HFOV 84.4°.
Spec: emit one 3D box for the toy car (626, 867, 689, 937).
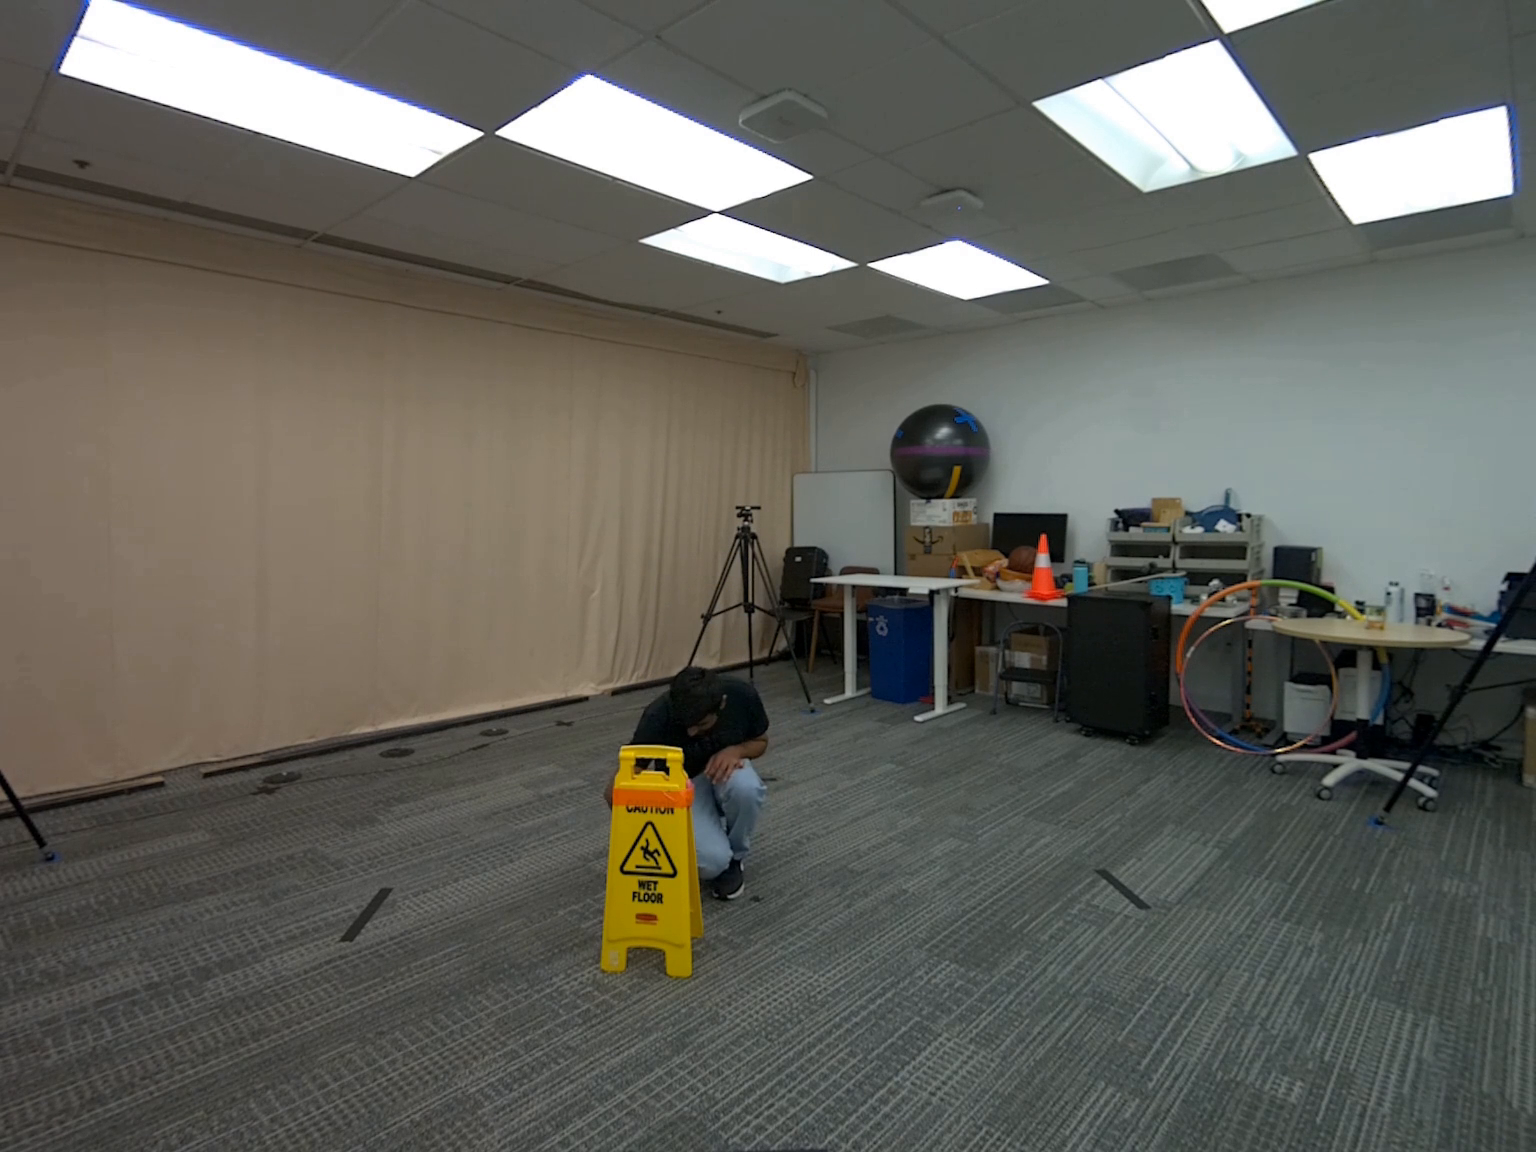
[{"bbox_3d":[-0.379,1.120,2.926,0.132,0.082,0.253,-3,13,13],"label":"toy car"}]
